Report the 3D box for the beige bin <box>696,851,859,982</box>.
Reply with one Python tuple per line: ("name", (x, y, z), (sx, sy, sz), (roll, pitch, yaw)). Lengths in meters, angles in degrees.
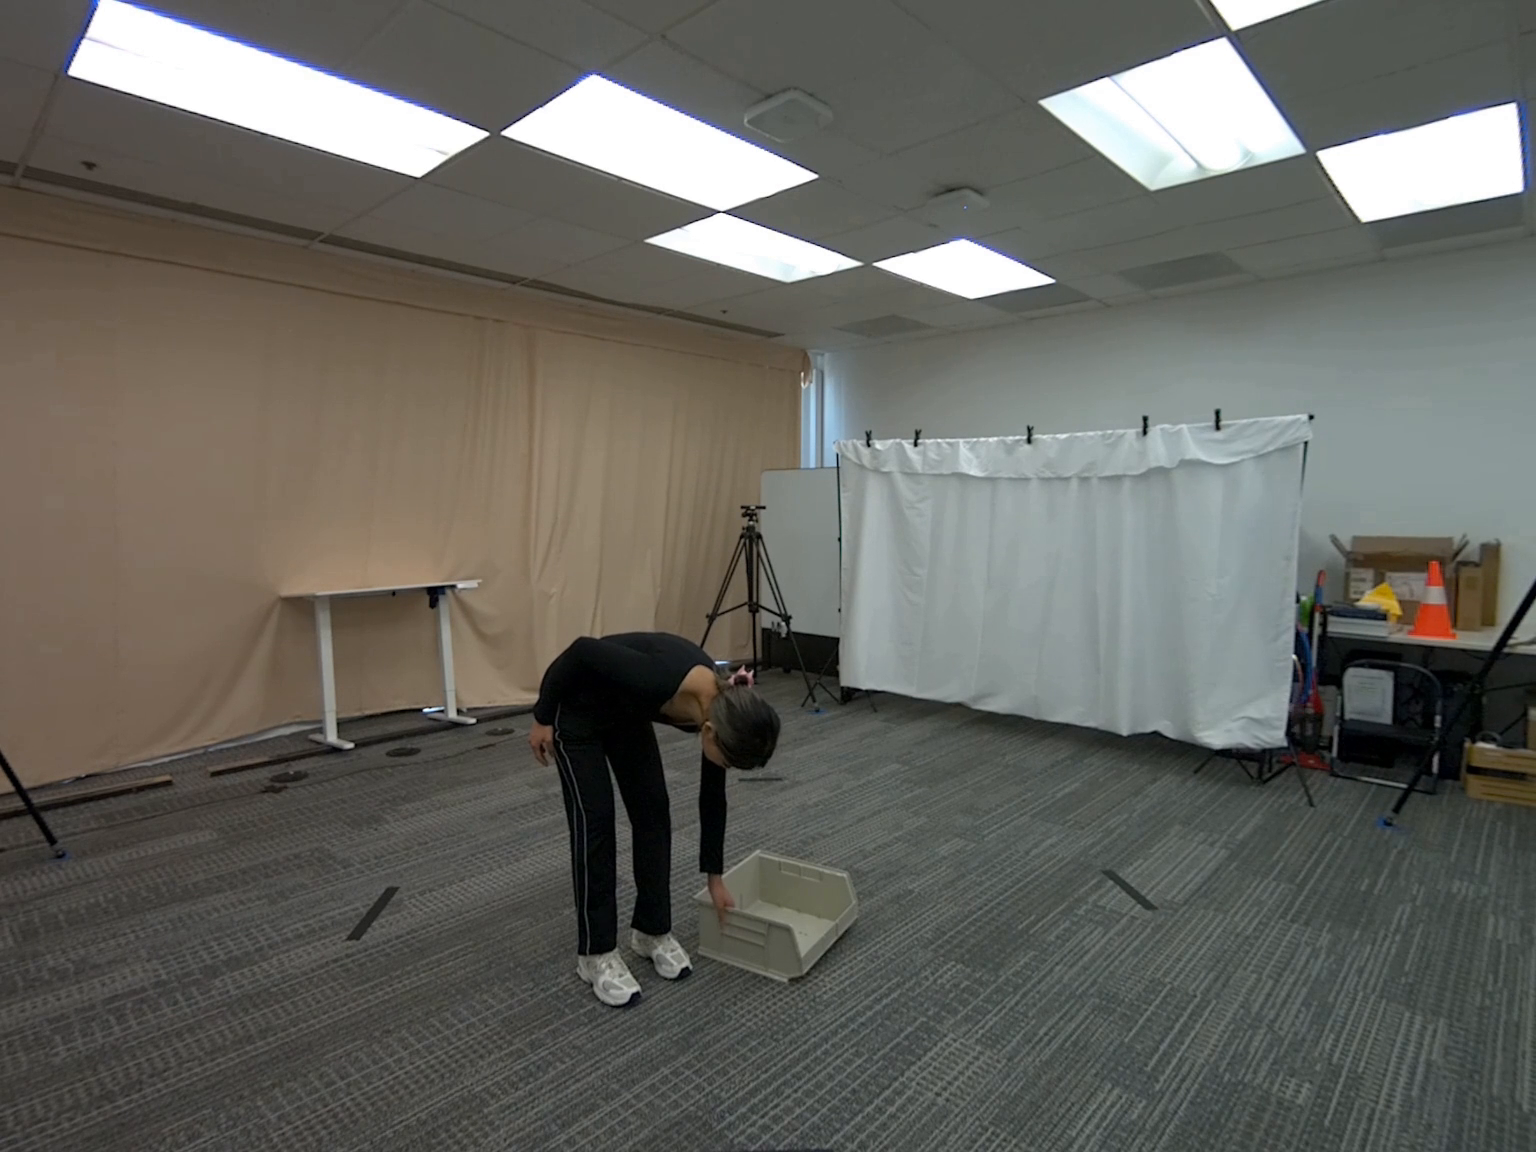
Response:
("beige bin", (0.035, 1.083, 2.695), (0.388, 0.188, 0.411), (1, 5, 30))
